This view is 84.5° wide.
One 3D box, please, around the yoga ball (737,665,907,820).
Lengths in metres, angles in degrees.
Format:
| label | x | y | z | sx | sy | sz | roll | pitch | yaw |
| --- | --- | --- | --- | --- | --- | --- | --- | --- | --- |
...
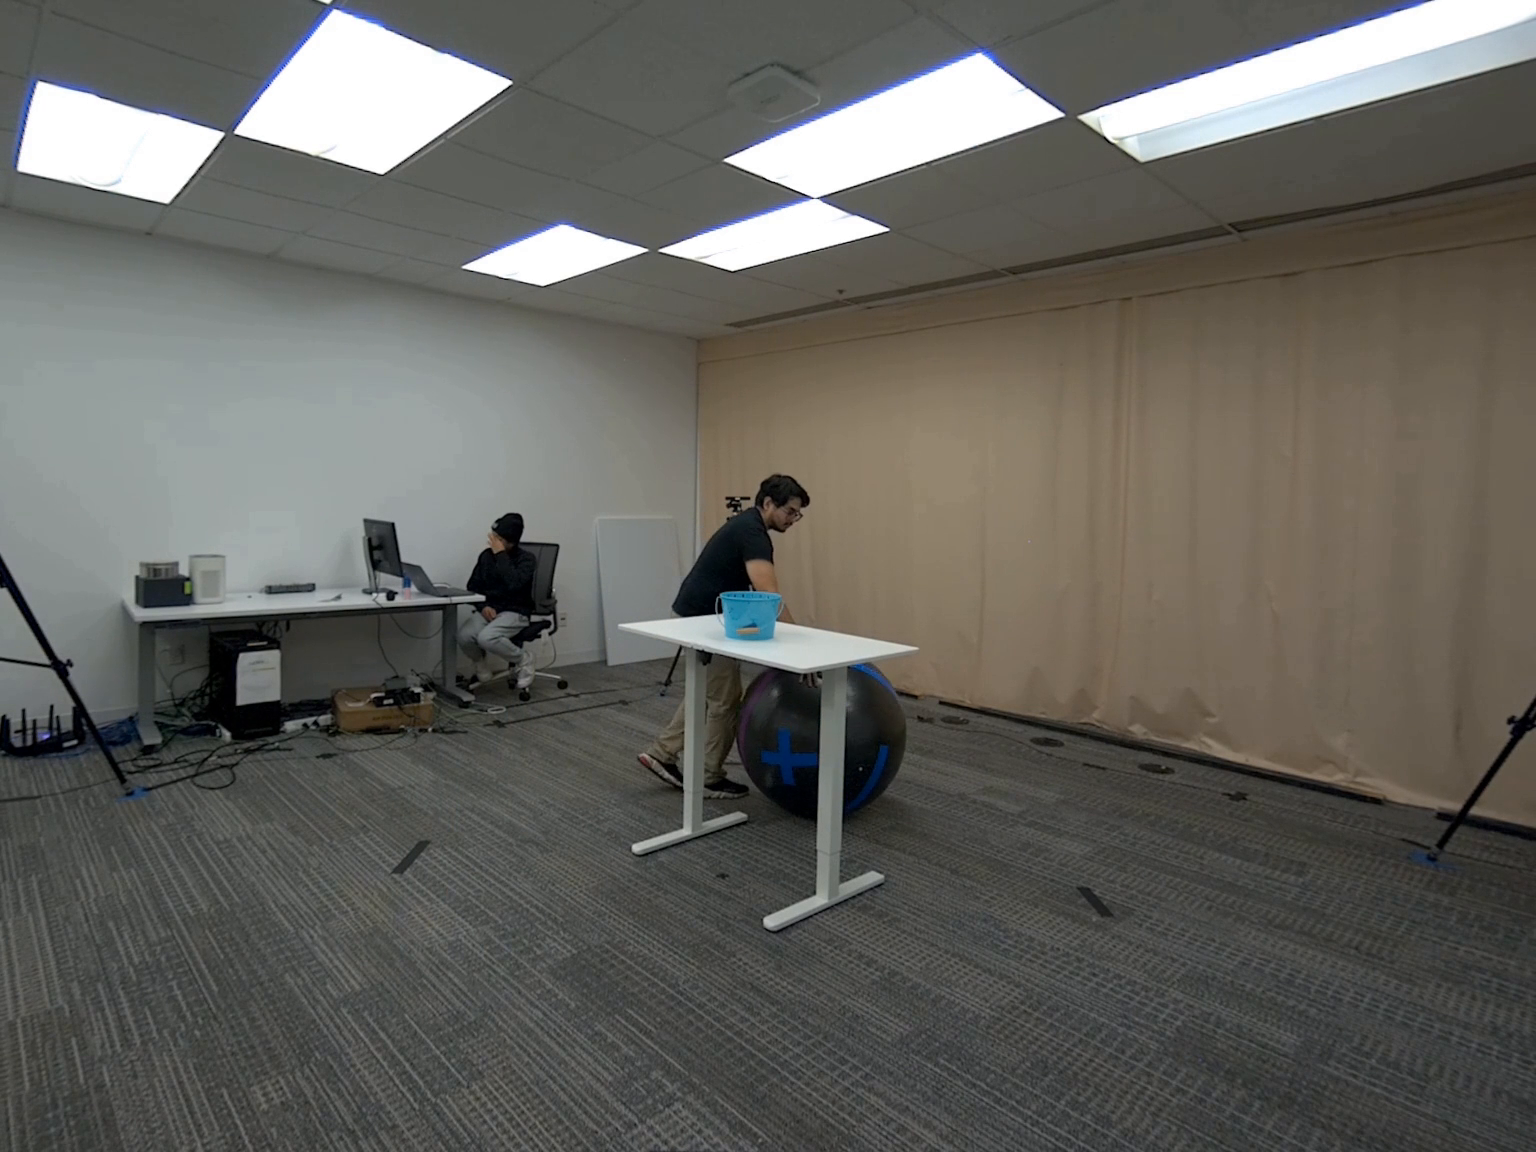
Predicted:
| label | x | y | z | sx | sy | sz | roll | pitch | yaw |
| --- | --- | --- | --- | --- | --- | --- | --- | --- | --- |
| yoga ball | 0.229 | 0.694 | 3.784 | 0.757 | 0.756 | 0.761 | 1 | 4 | -1 |
